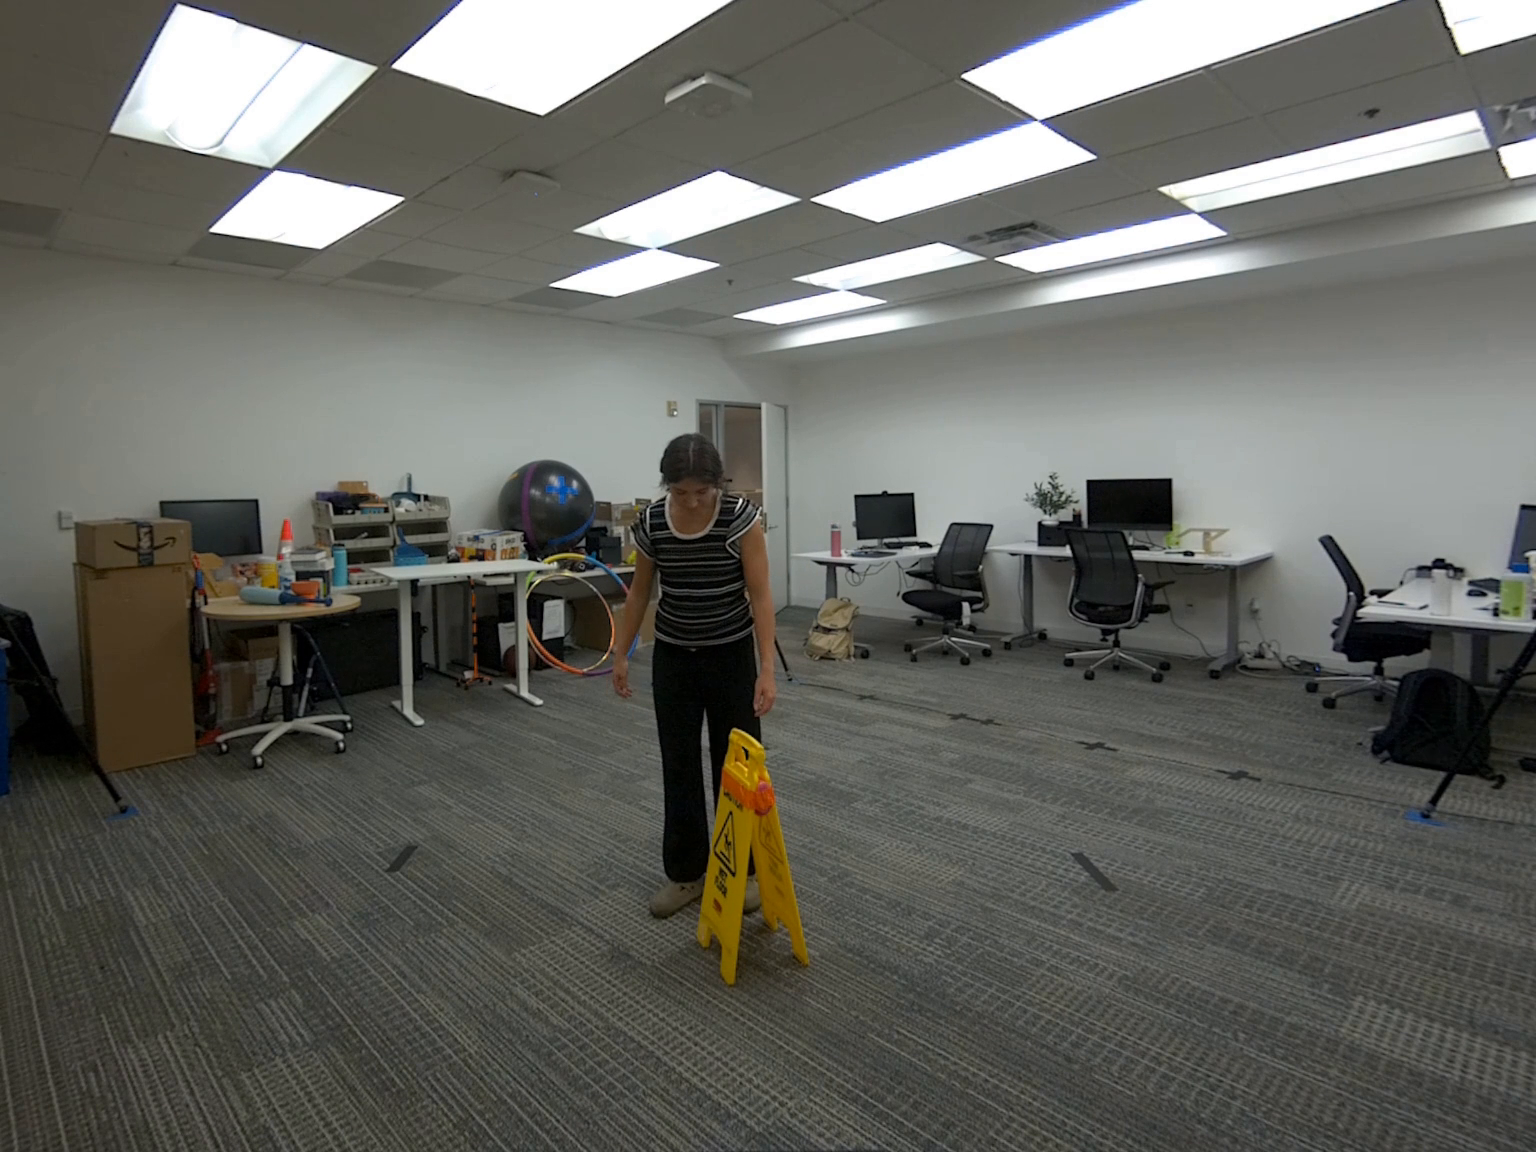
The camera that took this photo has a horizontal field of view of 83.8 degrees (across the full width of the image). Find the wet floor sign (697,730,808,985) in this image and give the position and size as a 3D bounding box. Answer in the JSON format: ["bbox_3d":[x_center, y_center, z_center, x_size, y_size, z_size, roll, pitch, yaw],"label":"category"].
[{"bbox_3d":[-0.055,0.794,2.500,0.284,0.643,0.289,-4,5,-22],"label":"wet floor sign"}]
